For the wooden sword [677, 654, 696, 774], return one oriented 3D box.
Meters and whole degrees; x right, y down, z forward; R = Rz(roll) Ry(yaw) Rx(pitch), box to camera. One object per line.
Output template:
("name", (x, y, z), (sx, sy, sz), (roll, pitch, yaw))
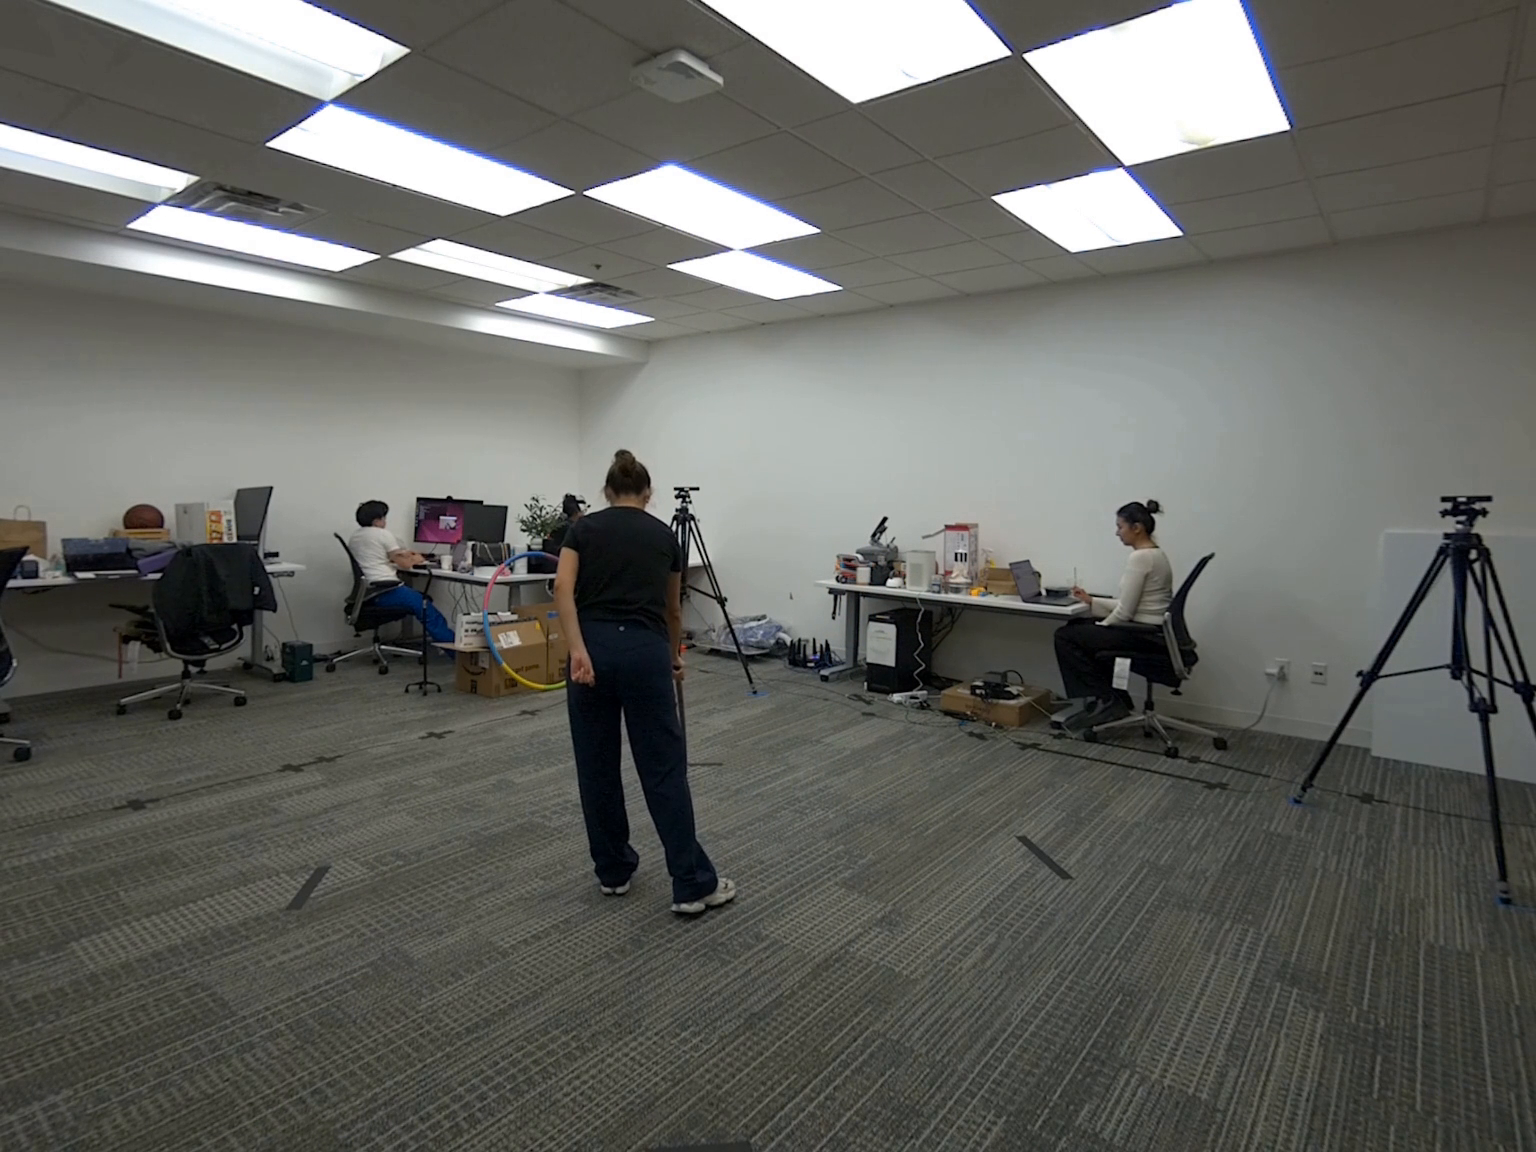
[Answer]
("wooden sword", (-0.362, 0.638, 3.729), (0.024, 0.052, 0.997), (17, -36, 10))
